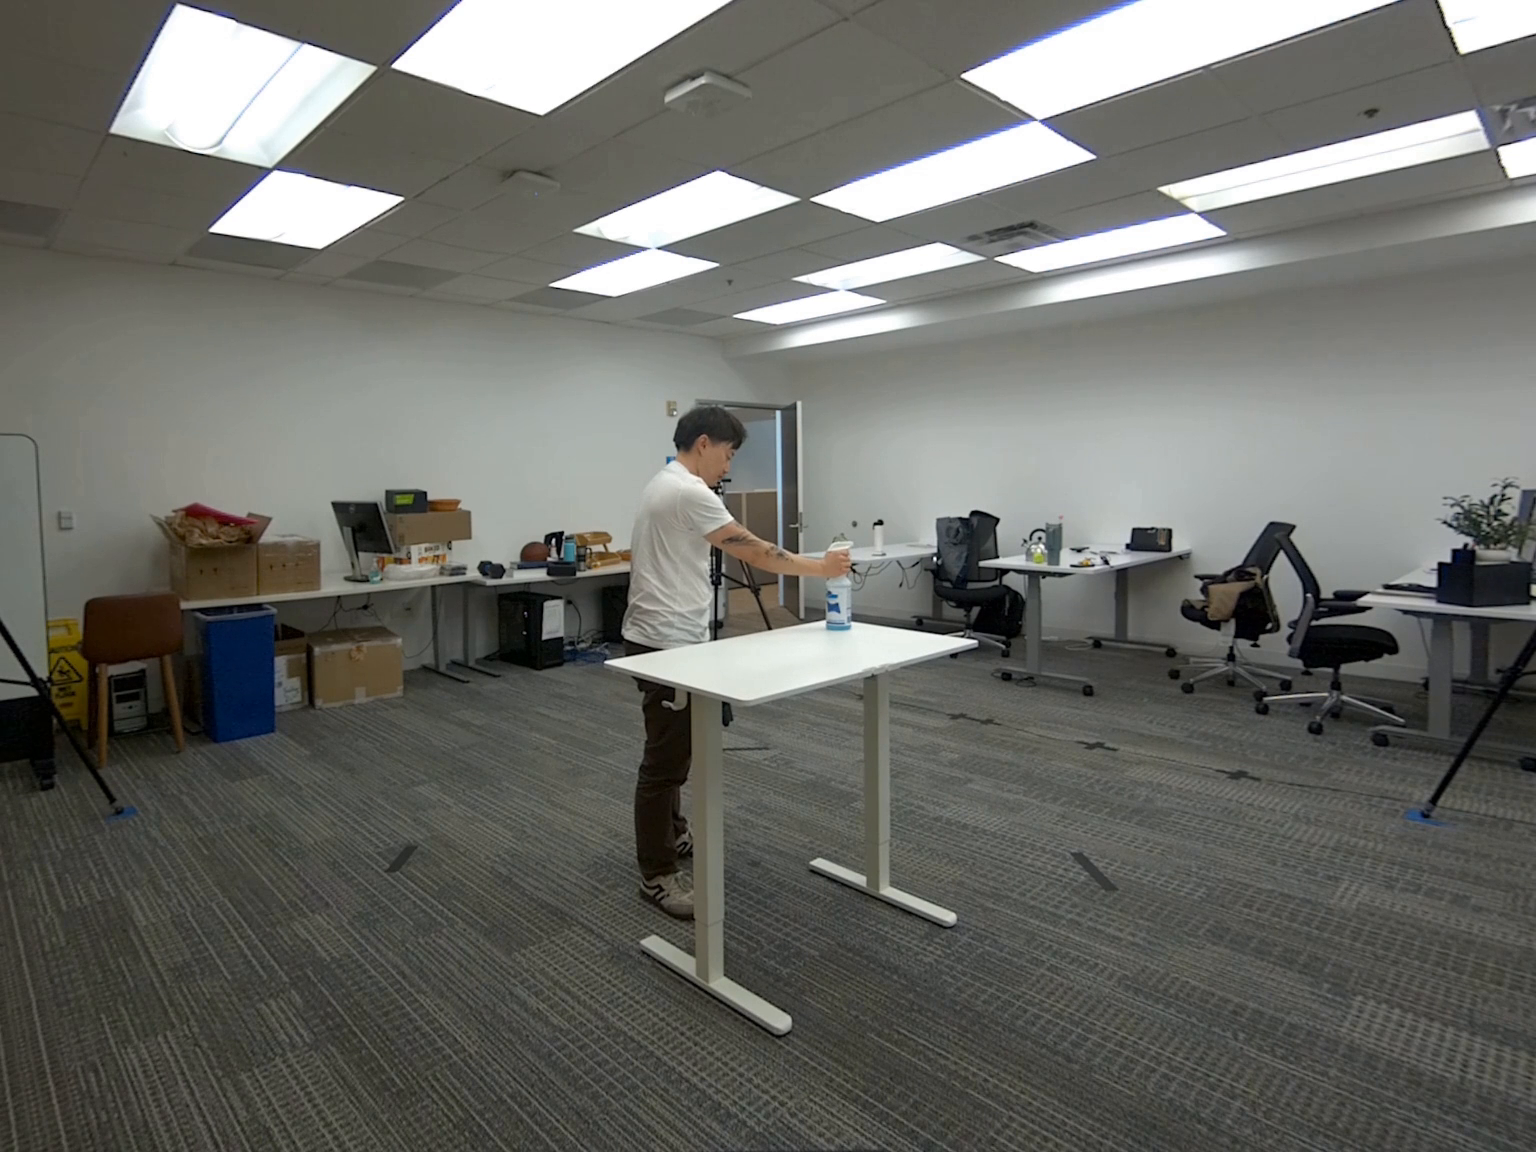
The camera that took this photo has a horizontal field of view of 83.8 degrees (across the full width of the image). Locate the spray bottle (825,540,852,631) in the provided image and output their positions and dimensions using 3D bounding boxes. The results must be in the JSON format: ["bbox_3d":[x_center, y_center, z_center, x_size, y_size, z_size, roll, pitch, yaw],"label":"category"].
[{"bbox_3d":[0.238,0.035,2.901,0.091,0.296,0.086,1,4,12],"label":"spray bottle"}]
